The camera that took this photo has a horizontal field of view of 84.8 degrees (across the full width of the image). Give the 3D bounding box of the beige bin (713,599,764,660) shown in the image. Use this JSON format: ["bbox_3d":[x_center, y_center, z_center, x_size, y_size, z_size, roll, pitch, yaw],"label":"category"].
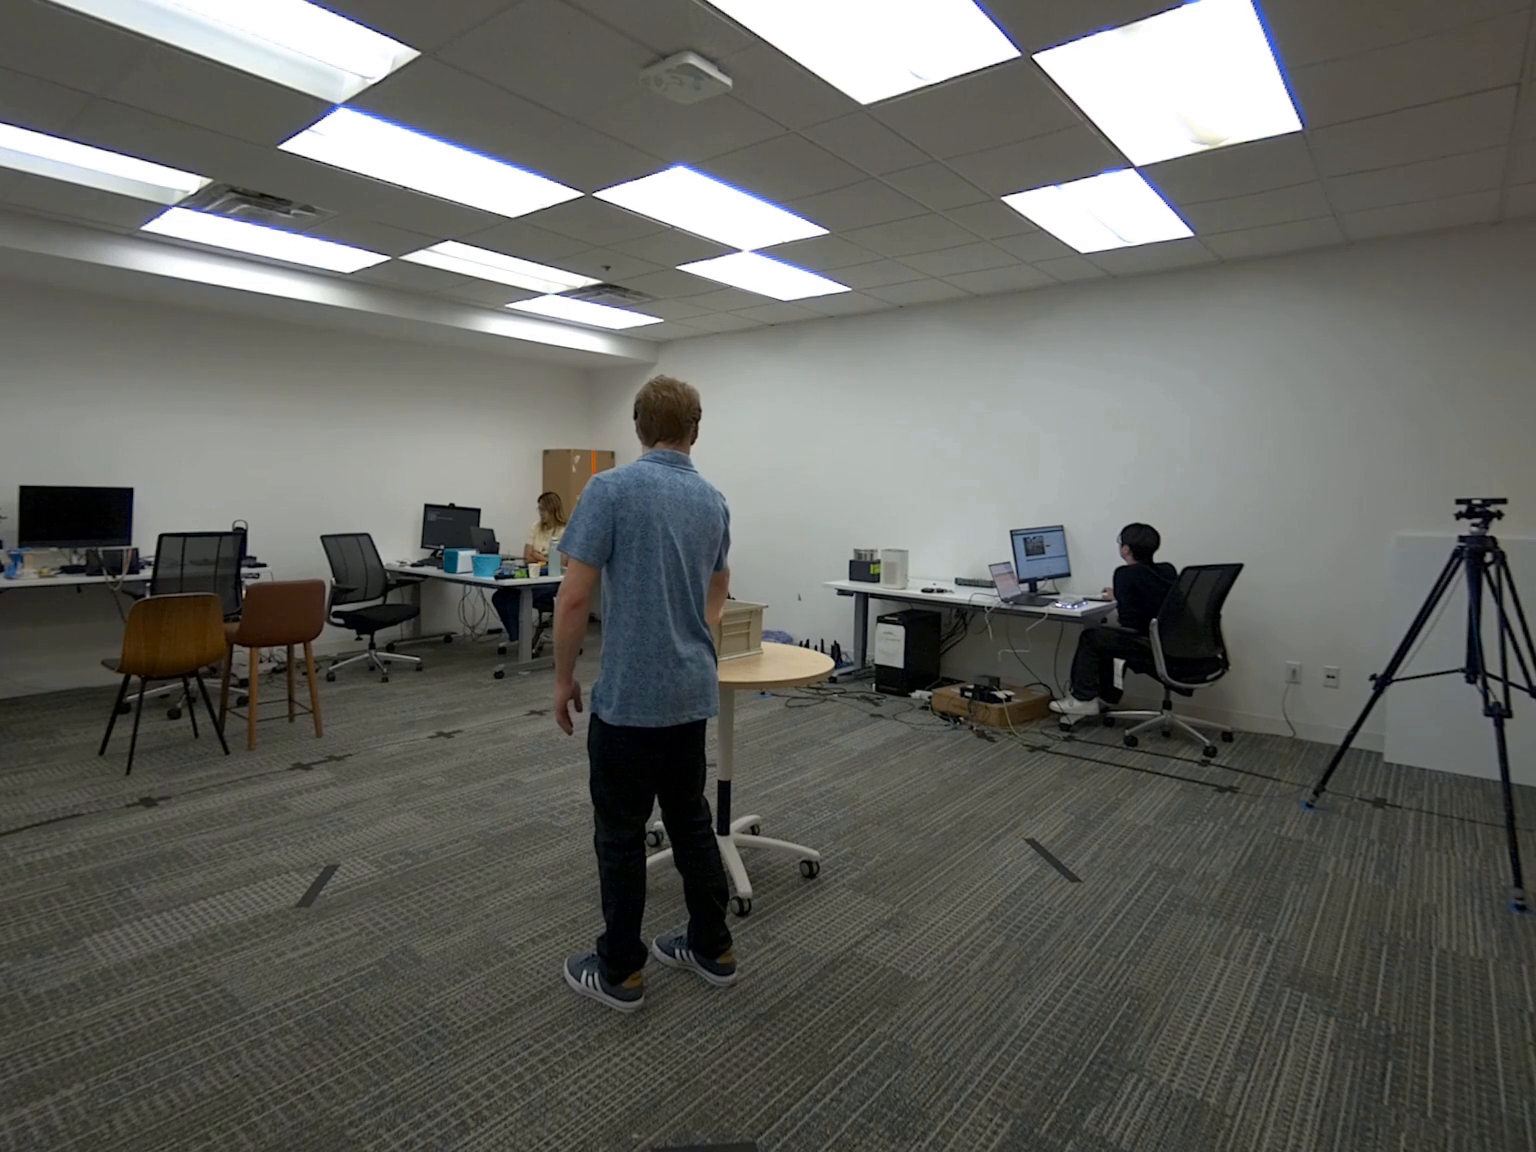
[{"bbox_3d":[-0.288,0.188,3.168,0.436,0.188,0.366,5,5,39],"label":"beige bin"}]
